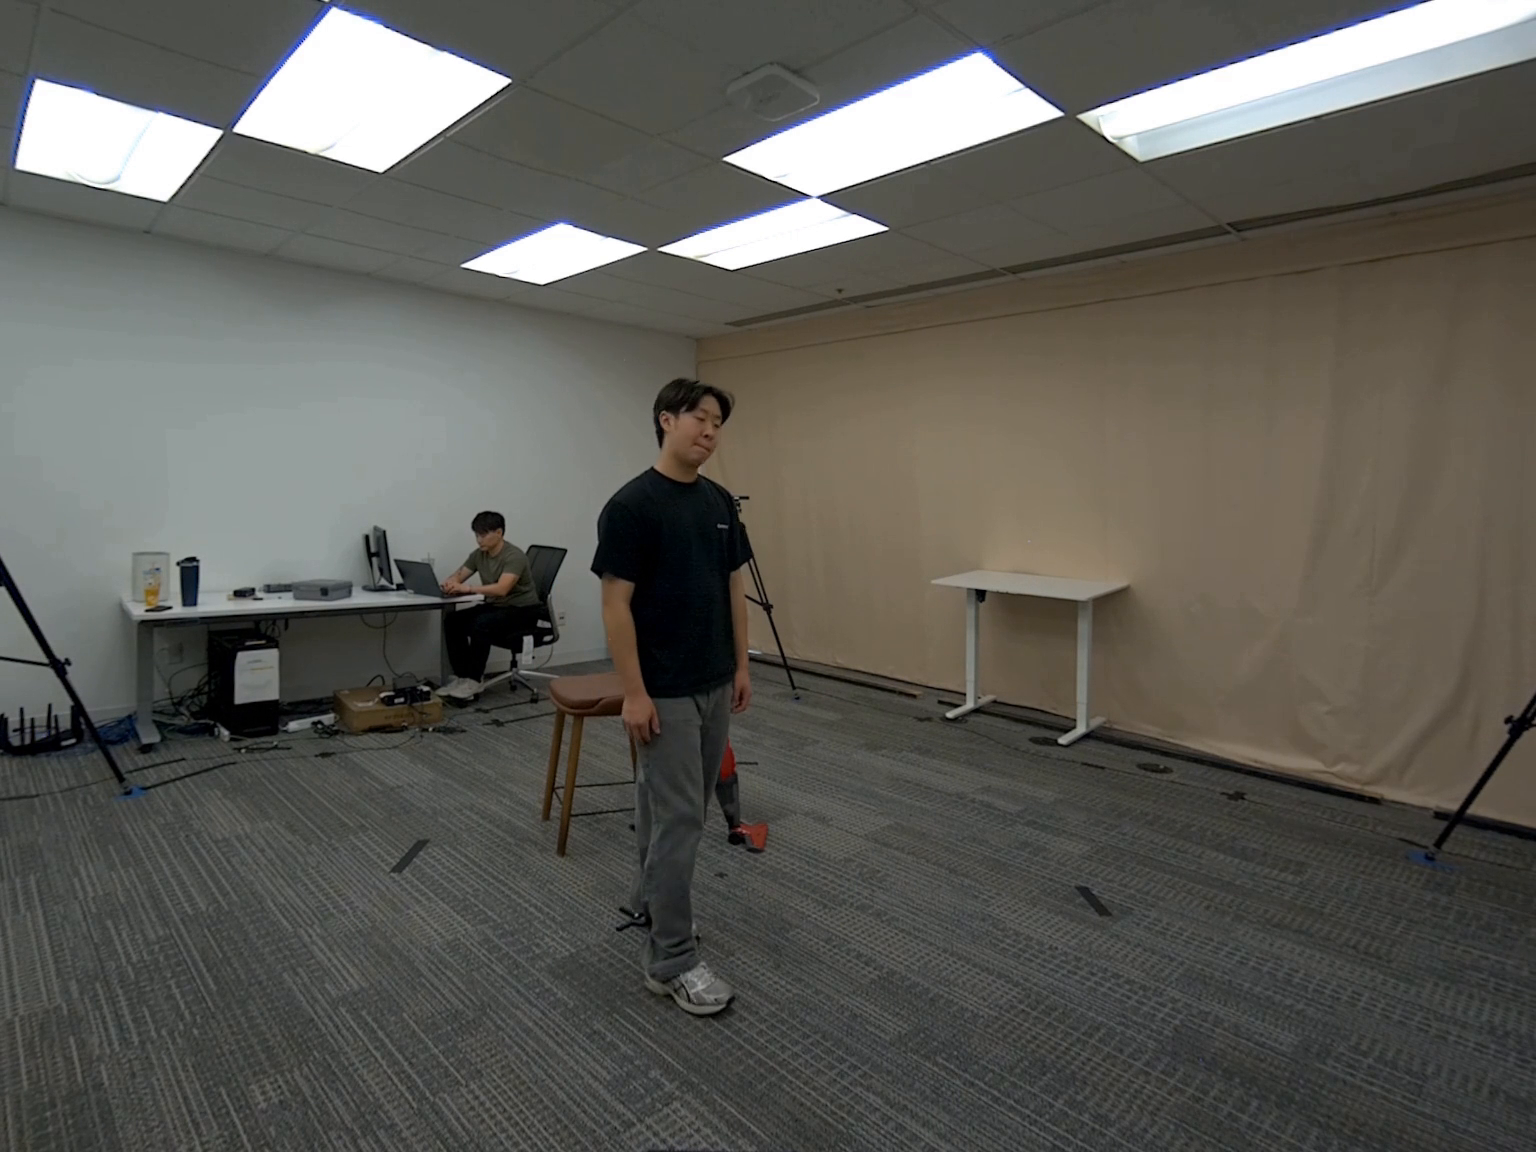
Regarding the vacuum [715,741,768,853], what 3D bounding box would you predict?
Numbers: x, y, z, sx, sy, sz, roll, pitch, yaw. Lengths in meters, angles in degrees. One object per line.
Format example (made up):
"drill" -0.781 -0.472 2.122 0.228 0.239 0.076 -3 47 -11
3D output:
"vacuum" -0.255 0.580 3.455 0.144 1.051 0.252 -18 -2 3
